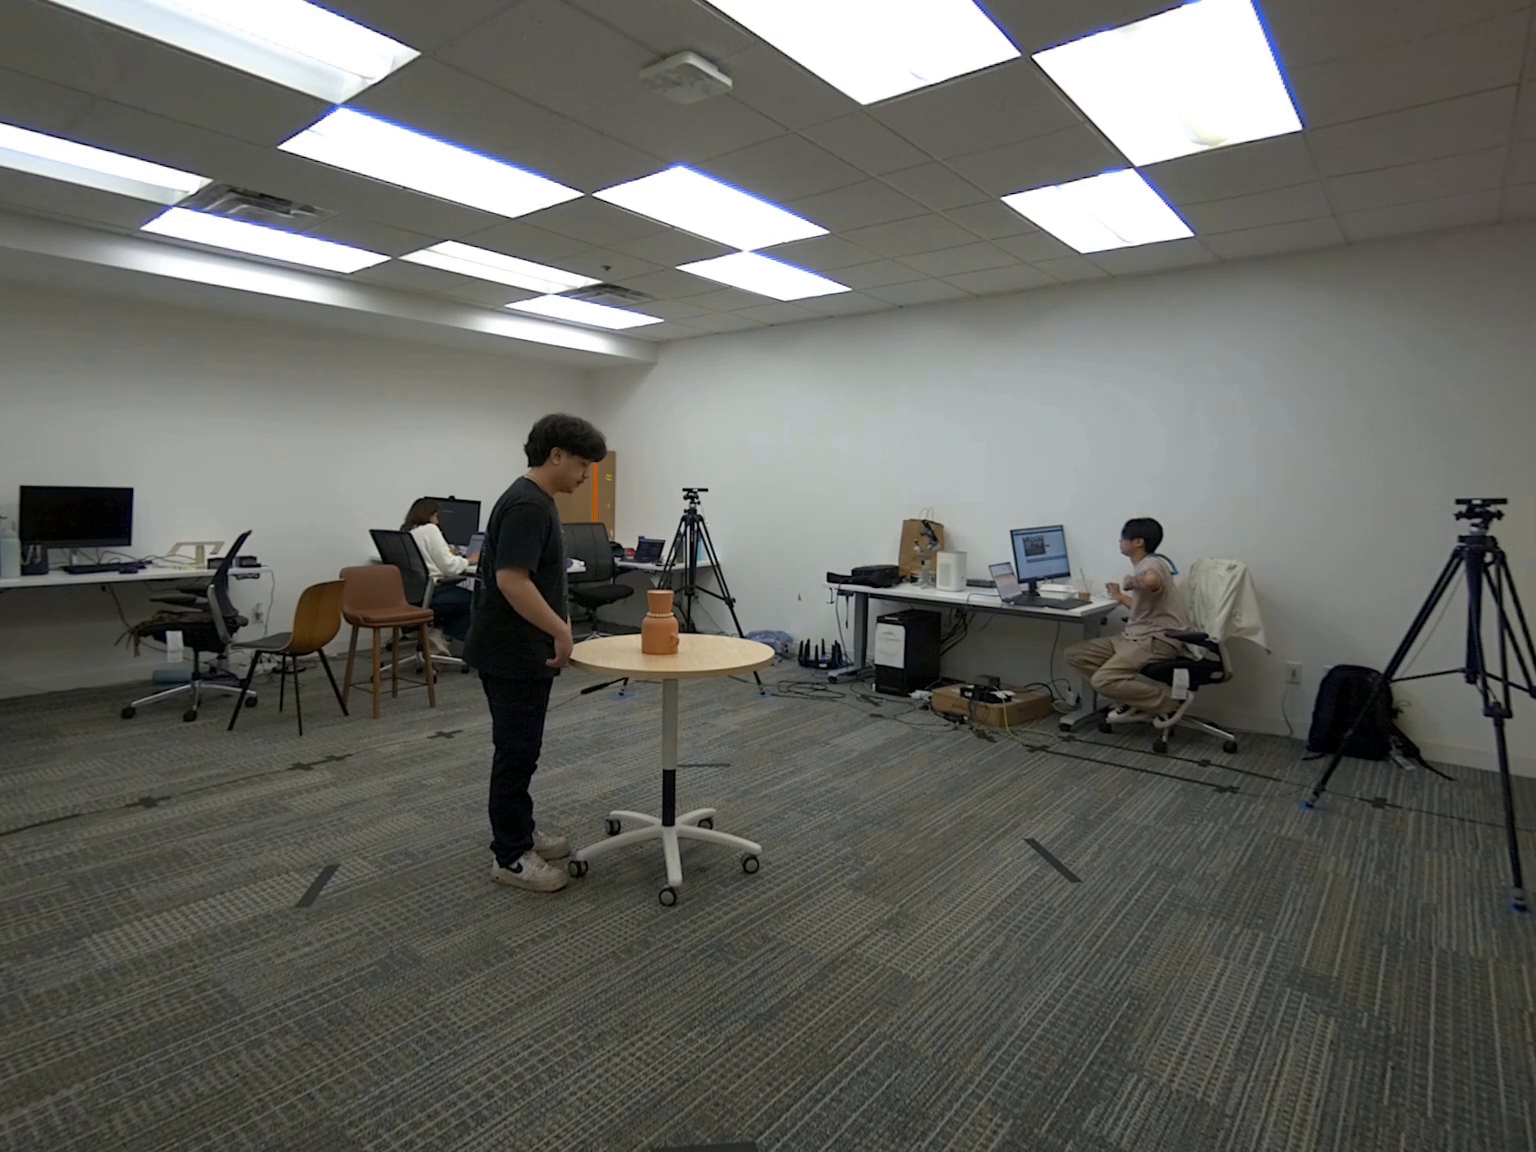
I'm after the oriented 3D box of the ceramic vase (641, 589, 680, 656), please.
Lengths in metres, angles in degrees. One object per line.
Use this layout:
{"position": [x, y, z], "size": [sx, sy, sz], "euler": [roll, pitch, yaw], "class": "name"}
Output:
{"position": [-0.406, 0.167, 3.090], "size": [0.159, 0.219, 0.134], "euler": [1, 3, 3], "class": "ceramic vase"}
